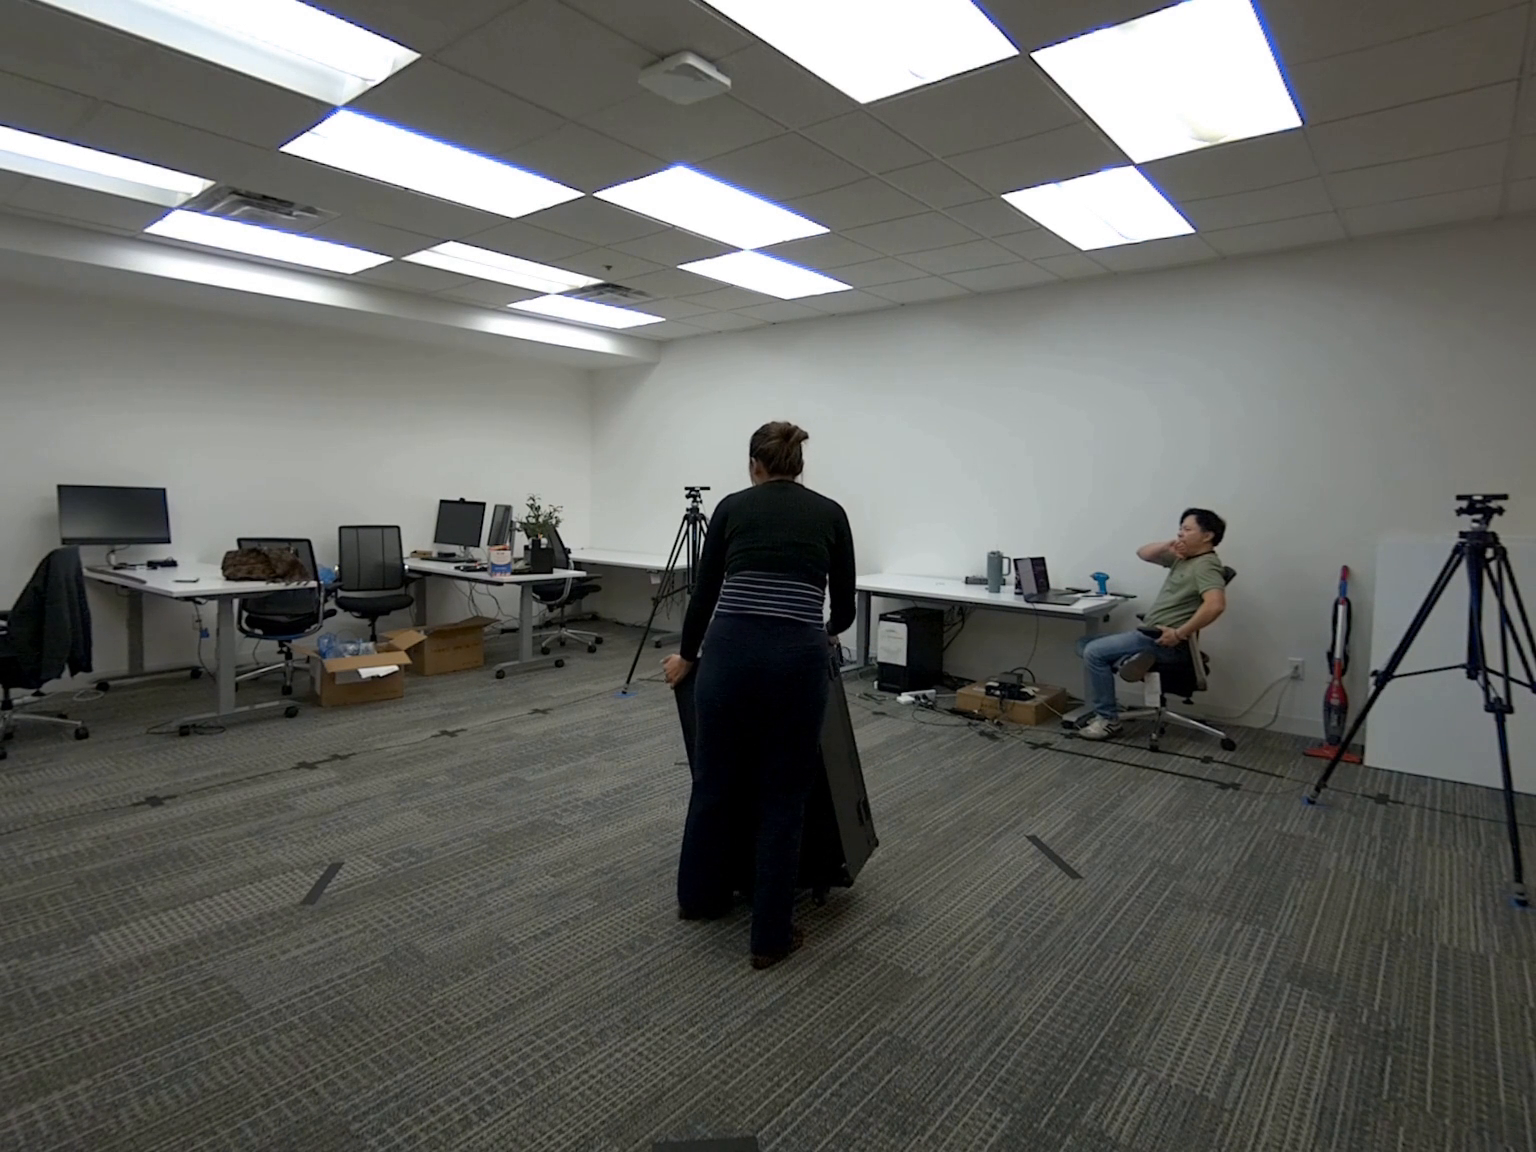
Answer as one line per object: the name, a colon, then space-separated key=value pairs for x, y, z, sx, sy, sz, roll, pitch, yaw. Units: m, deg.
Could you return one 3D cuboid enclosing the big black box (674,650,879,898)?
big black box: x=0.017 y=0.642 z=2.916 sx=0.531 sy=0.863 sz=0.388 roll=-12 pitch=-1 yaw=24
